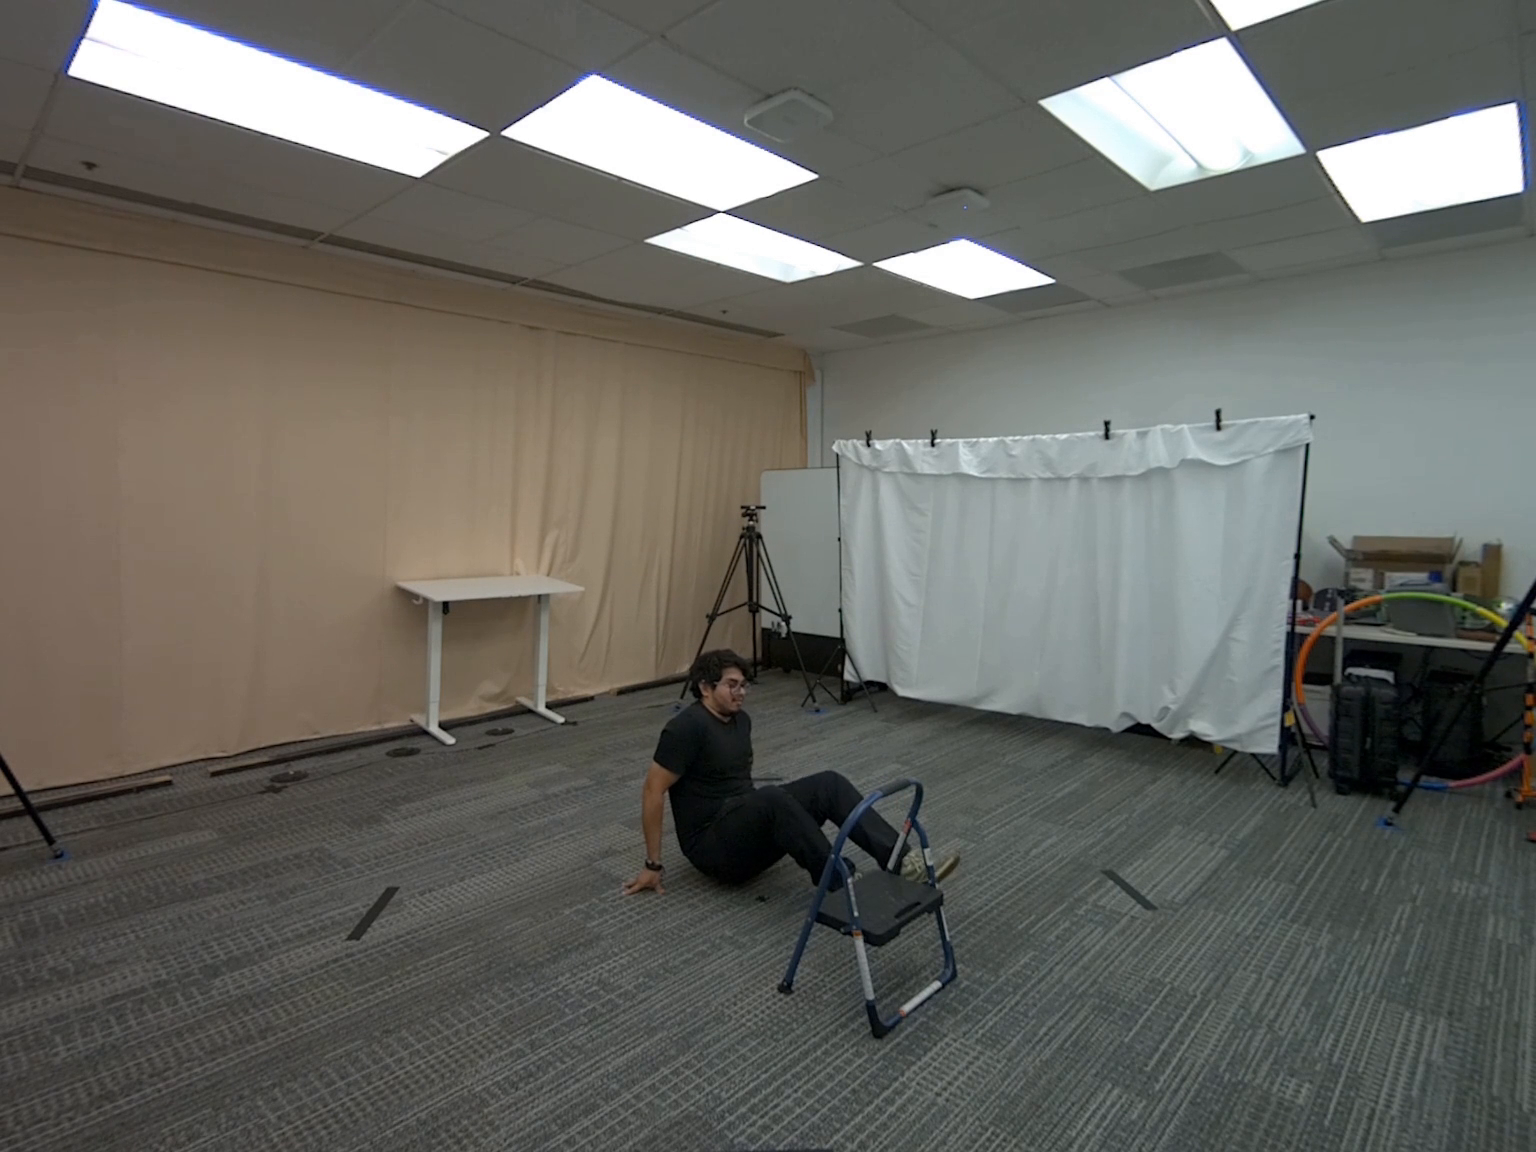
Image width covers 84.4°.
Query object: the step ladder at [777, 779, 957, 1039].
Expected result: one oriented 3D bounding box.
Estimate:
[{"bbox_3d":[0.300,0.886,2.436,0.361,0.604,0.417,3,5,42],"label":"step ladder"}]
